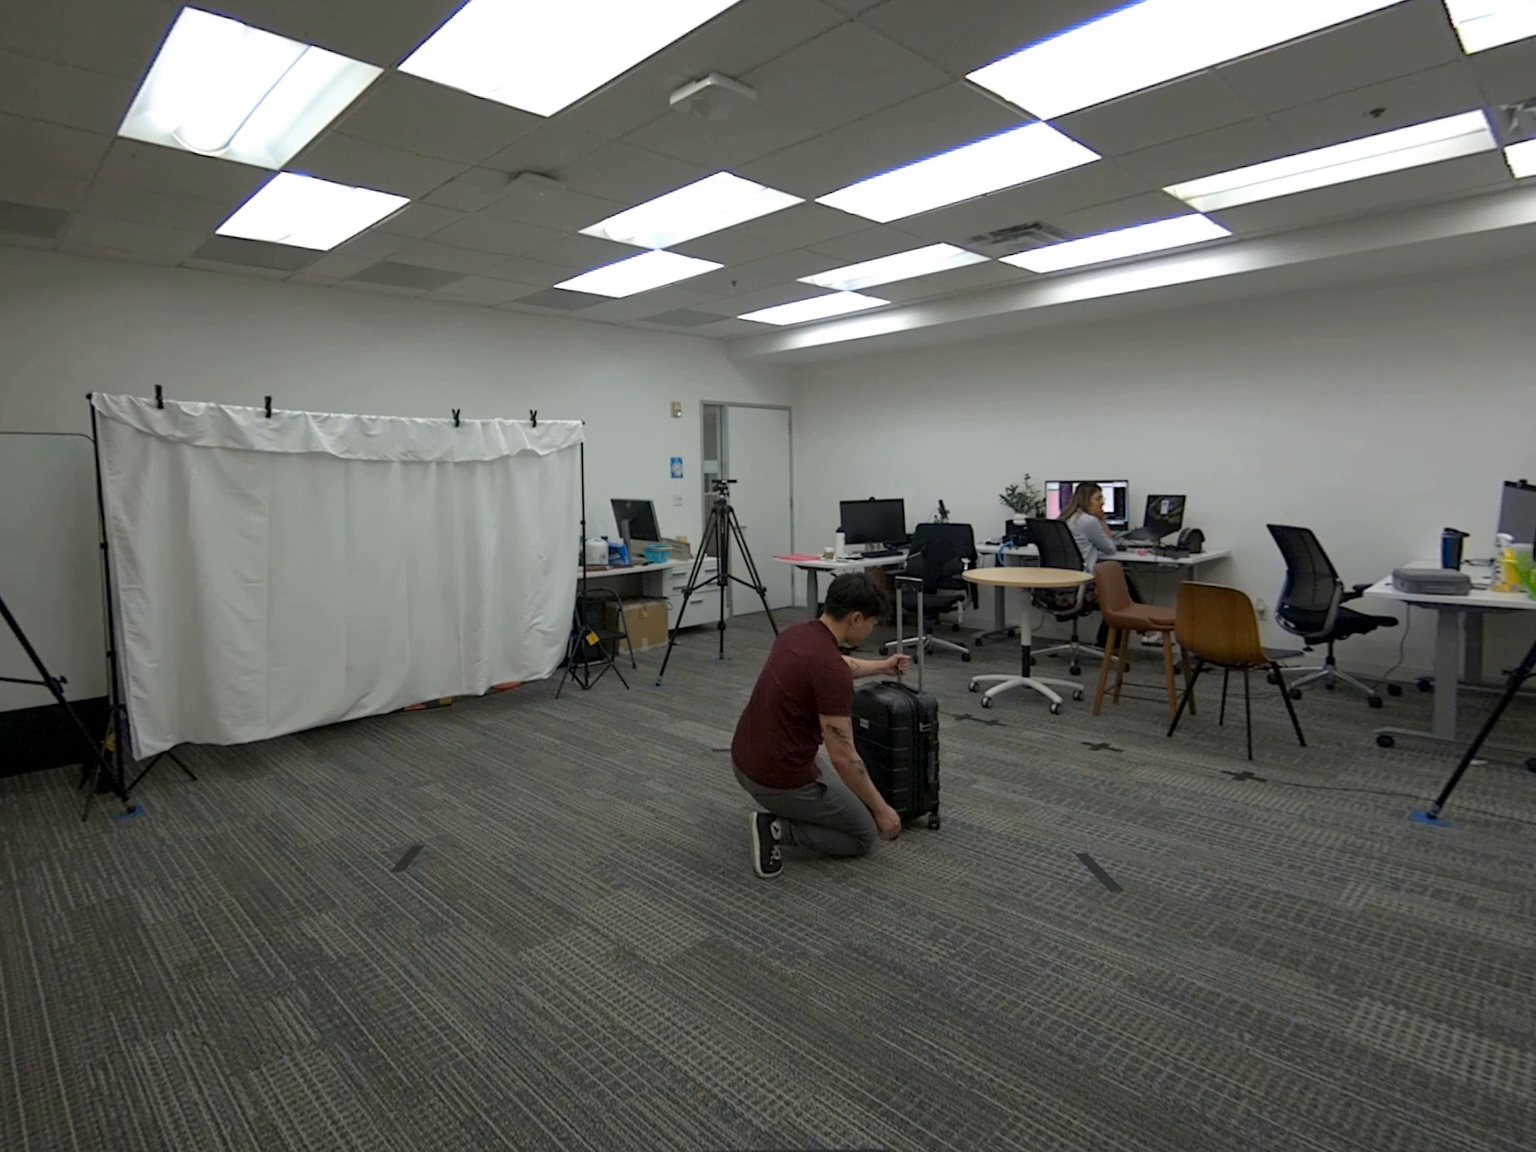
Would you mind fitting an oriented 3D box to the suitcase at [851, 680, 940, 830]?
[{"bbox_3d":[0.495,0.510,3.477,0.251,0.976,0.394,-3,3,-28],"label":"suitcase"}]
